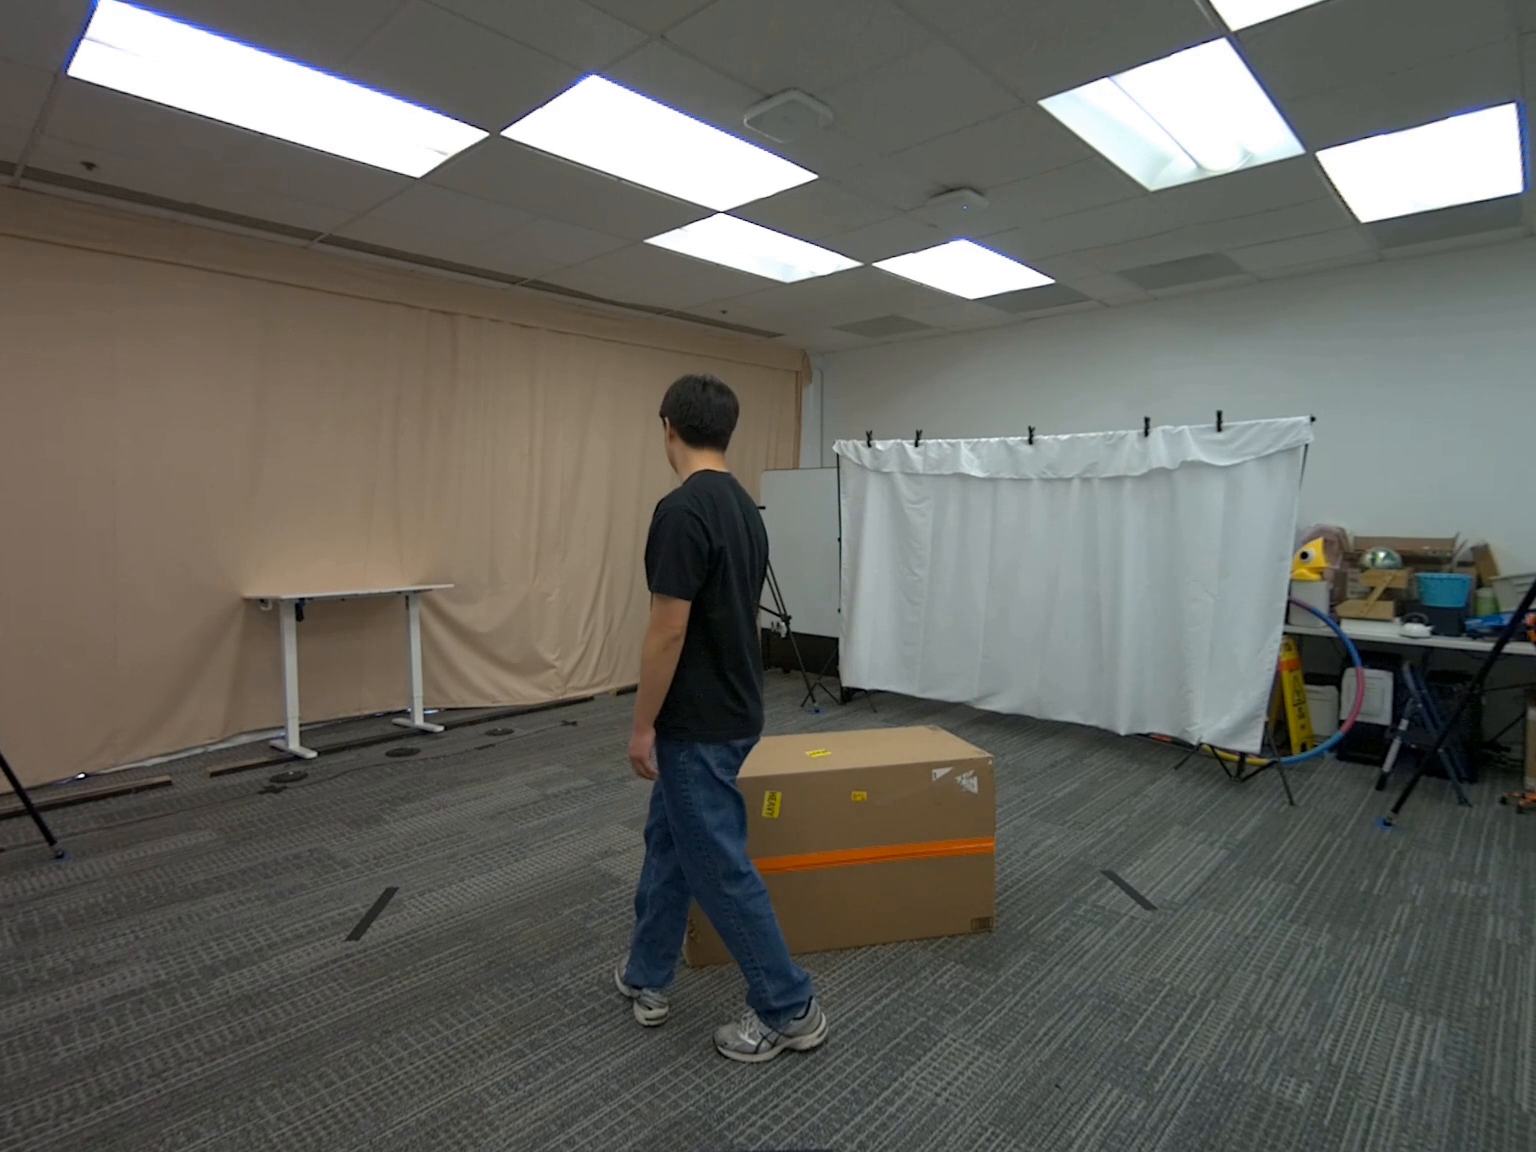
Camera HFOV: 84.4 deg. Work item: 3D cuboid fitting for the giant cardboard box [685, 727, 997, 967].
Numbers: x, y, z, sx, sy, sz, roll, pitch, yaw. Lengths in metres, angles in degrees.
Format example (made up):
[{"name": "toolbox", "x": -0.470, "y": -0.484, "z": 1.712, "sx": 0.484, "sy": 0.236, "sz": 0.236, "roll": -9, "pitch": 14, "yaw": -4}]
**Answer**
[{"name": "giant cardboard box", "x": 0.193, "y": 0.868, "z": 2.831, "sx": 1.013, "sy": 0.582, "sz": 0.454, "roll": -2, "pitch": 5, "yaw": -14}]
